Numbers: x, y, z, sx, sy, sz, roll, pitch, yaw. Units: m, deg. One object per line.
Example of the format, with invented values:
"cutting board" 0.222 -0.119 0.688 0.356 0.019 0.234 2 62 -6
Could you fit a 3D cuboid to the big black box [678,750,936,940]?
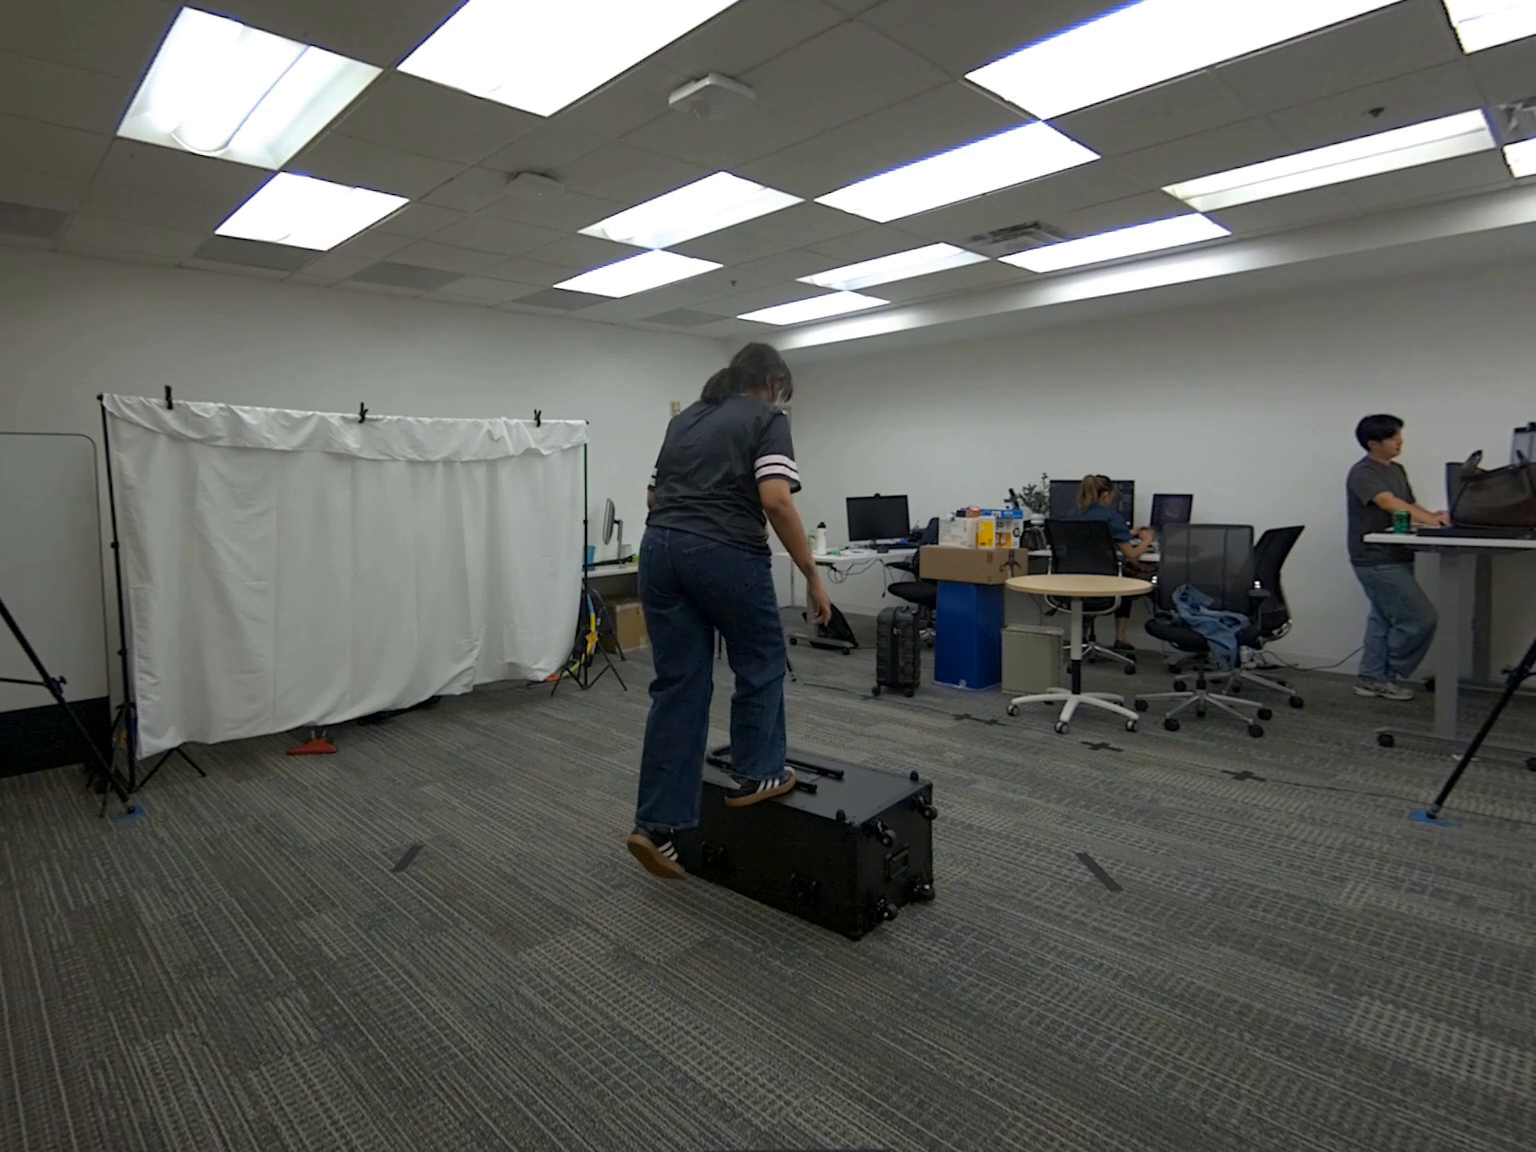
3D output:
"big black box" 0.144 0.873 2.979 0.895 0.384 0.509 4 6 40
